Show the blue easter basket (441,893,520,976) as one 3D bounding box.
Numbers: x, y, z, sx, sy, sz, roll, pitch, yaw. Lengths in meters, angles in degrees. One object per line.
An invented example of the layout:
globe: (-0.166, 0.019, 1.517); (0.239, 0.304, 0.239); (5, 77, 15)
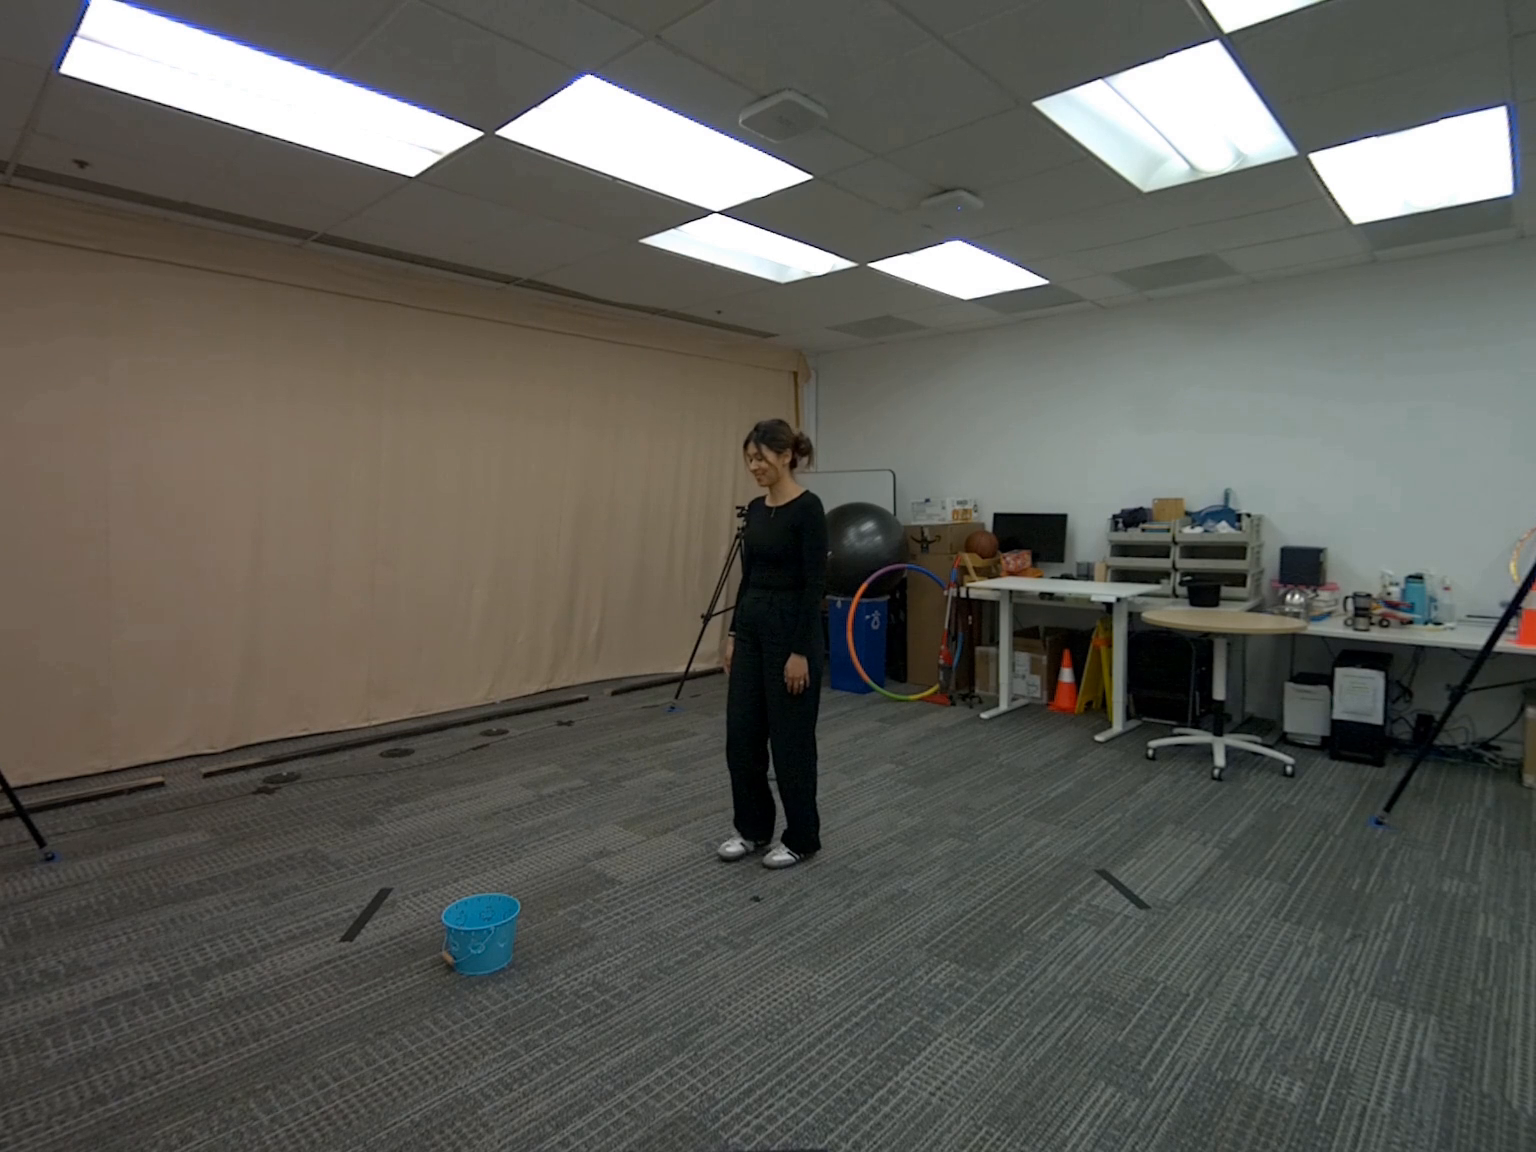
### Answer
blue easter basket: (-0.890, 1.106, 2.595); (0.243, 0.155, 0.244); (0, 4, -2)
